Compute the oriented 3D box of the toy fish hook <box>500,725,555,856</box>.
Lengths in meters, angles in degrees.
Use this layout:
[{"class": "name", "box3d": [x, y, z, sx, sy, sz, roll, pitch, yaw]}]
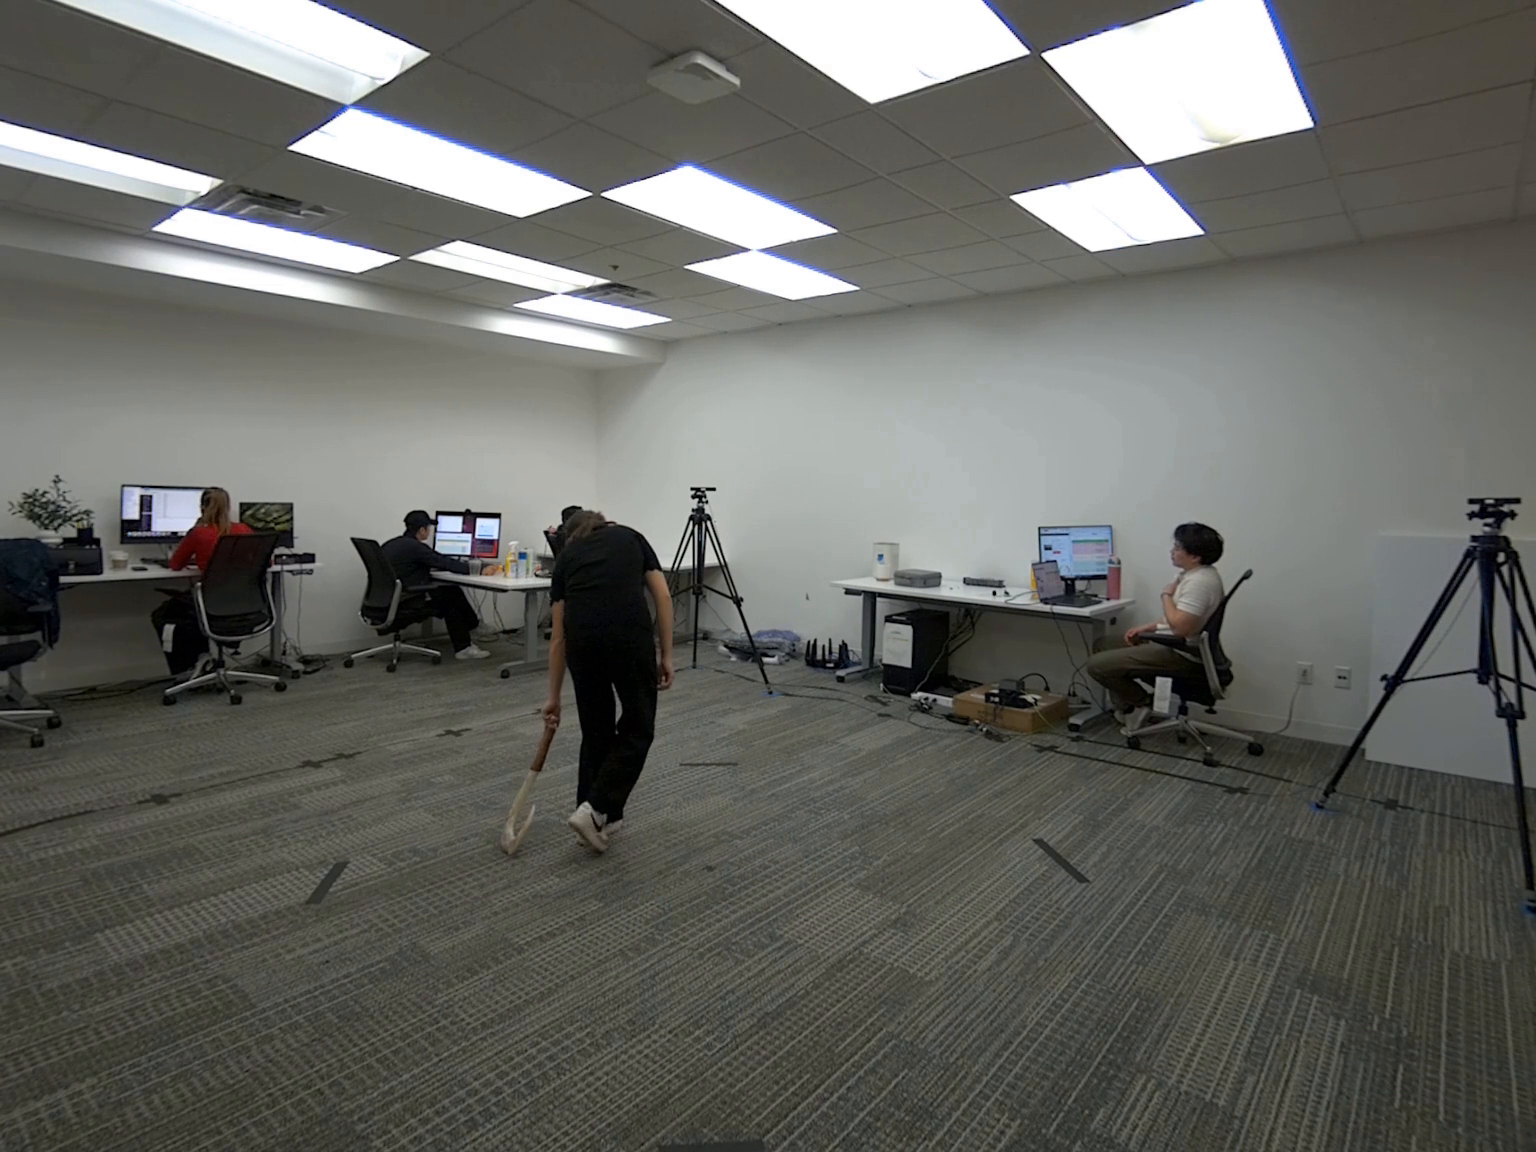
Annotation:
[{"class": "toy fish hook", "box3d": [-0.914, 0.813, 3.276, 0.046, 0.511, 0.231, 29, -18, -32]}]
